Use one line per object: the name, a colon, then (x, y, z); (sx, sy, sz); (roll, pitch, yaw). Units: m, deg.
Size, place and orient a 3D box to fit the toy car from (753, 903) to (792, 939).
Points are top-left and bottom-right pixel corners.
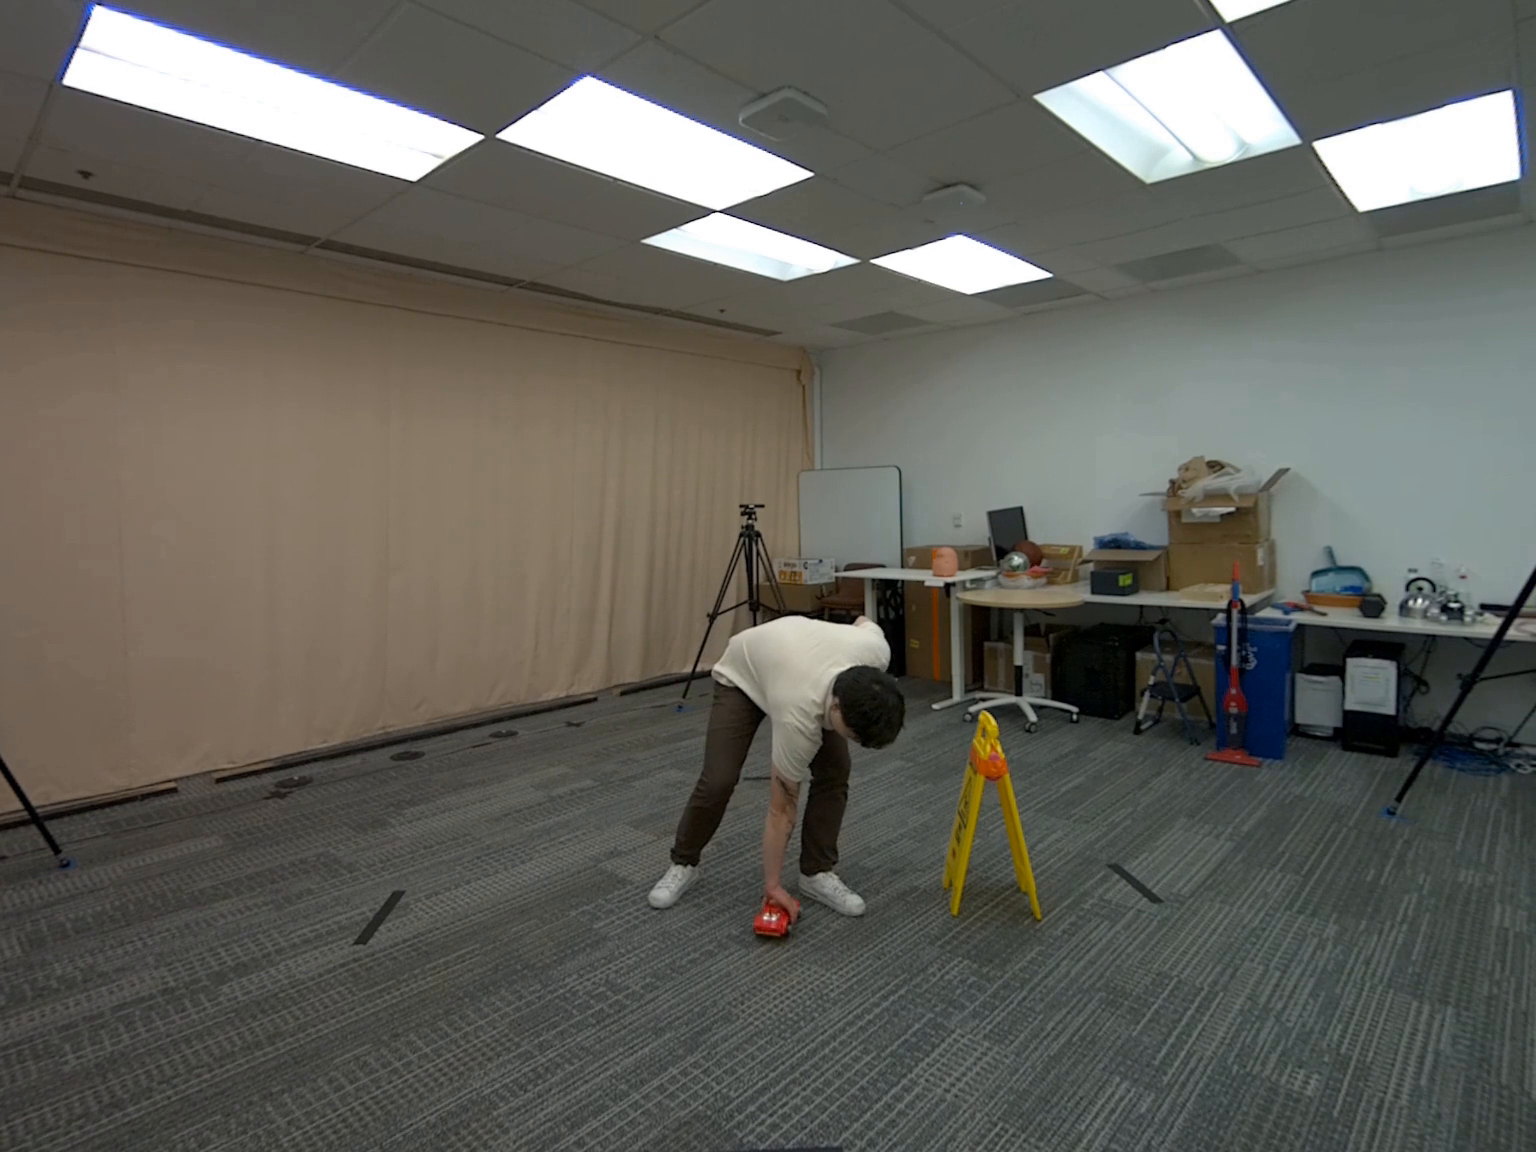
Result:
toy car: (0.036, 1.113, 2.746); (0.133, 0.084, 0.248); (-2, -12, 19)
